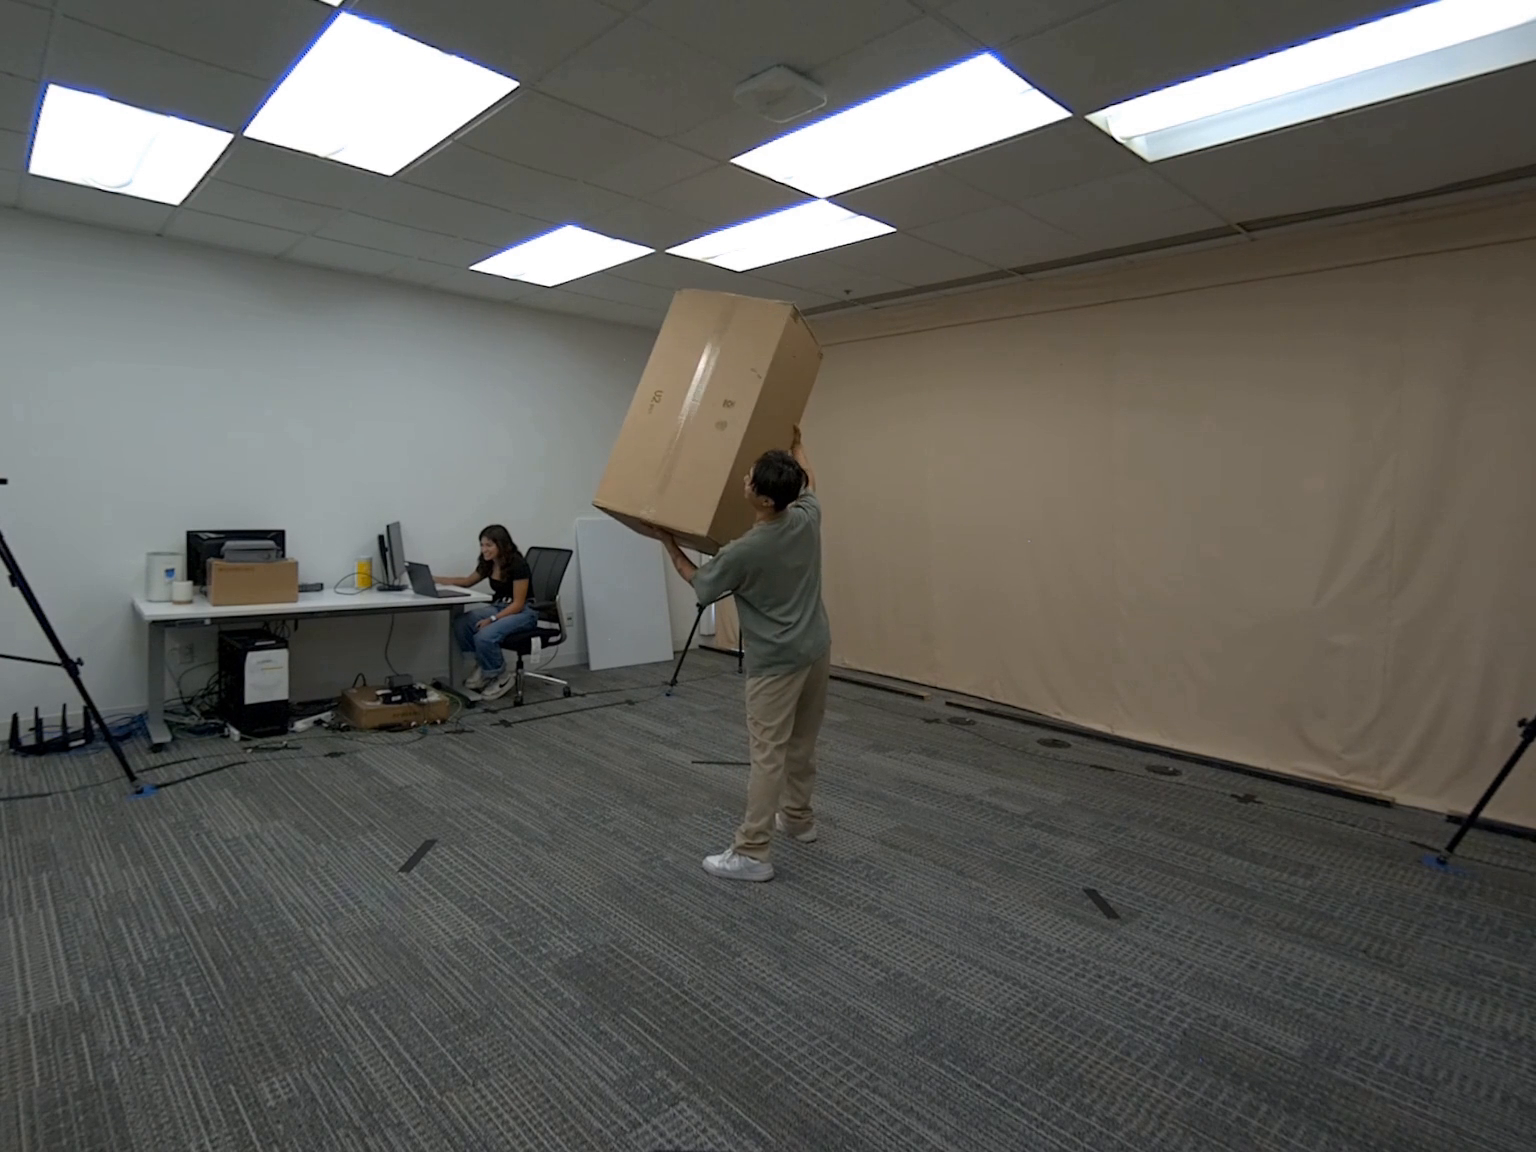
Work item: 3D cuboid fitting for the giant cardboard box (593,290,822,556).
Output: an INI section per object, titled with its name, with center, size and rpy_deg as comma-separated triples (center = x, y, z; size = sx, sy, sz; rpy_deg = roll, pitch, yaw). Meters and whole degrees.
[giant cardboard box]
center = -0.244, -0.637, 3.613
size = 0.591, 1.029, 0.415
rpy_deg = 16, -10, 27
